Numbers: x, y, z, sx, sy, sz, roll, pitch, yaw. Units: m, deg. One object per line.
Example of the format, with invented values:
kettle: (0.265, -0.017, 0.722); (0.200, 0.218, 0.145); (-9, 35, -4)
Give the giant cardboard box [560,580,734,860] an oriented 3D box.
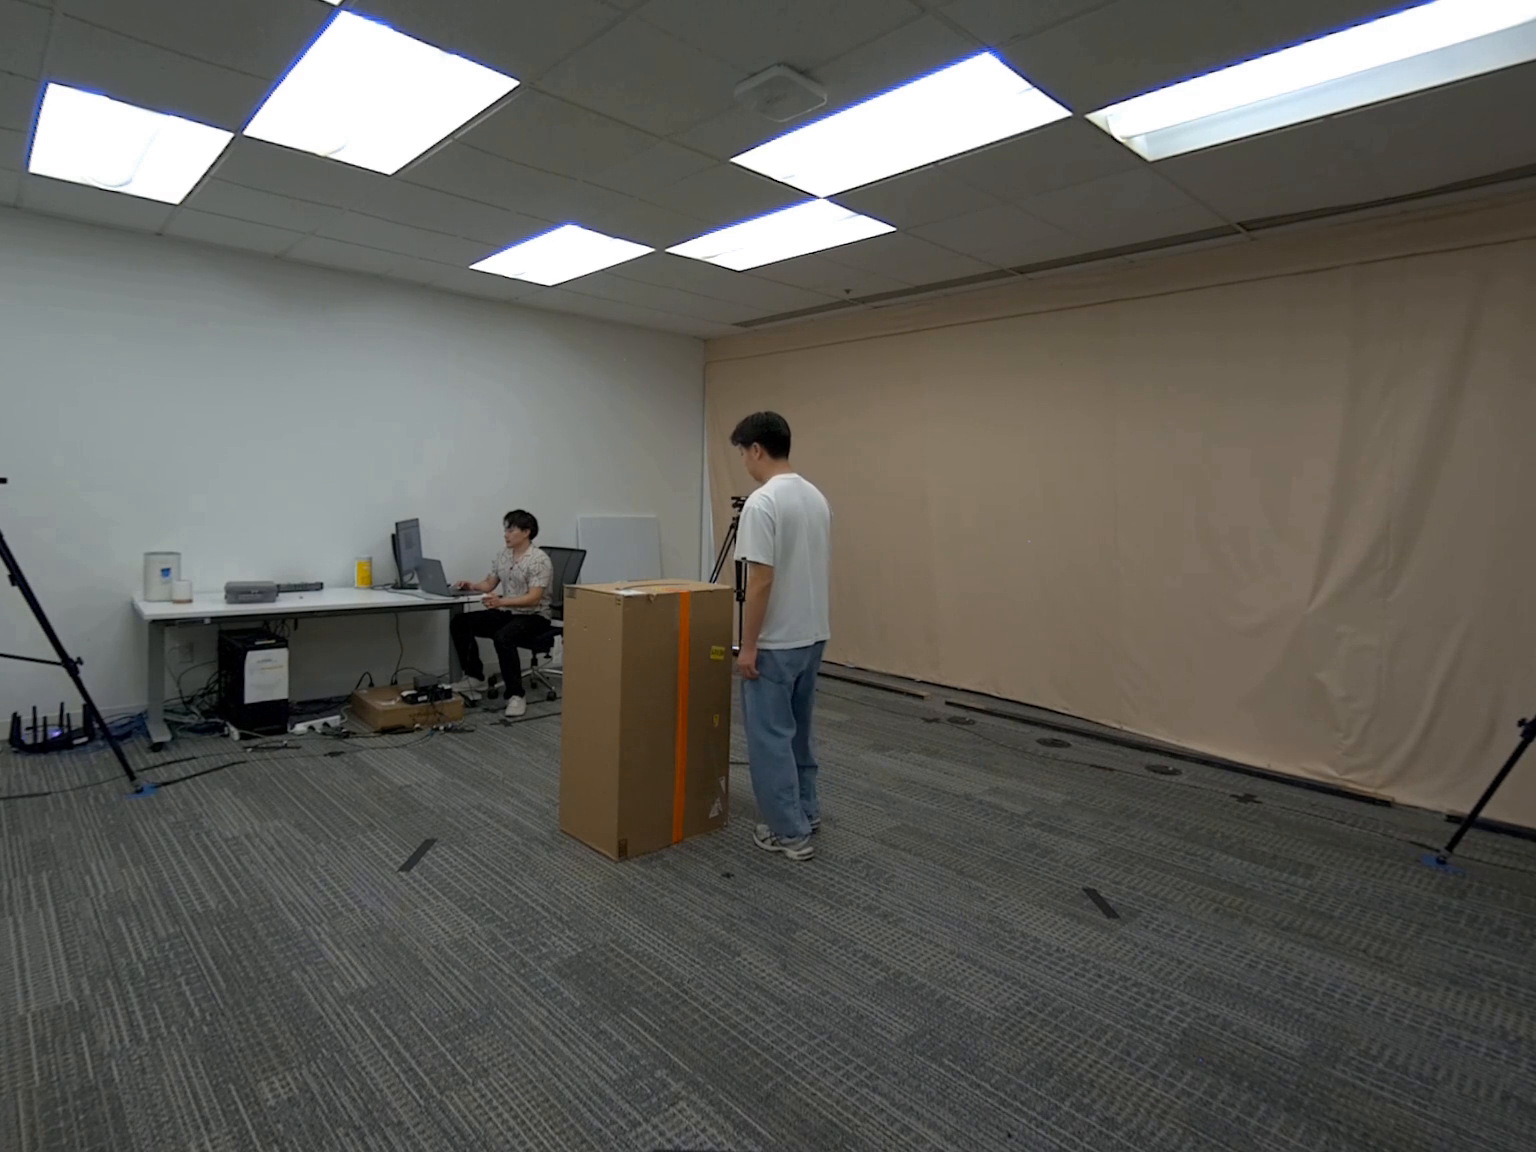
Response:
giant cardboard box: (-0.508, 0.553, 3.509); (0.564, 1.023, 0.437); (-2, 5, -45)
